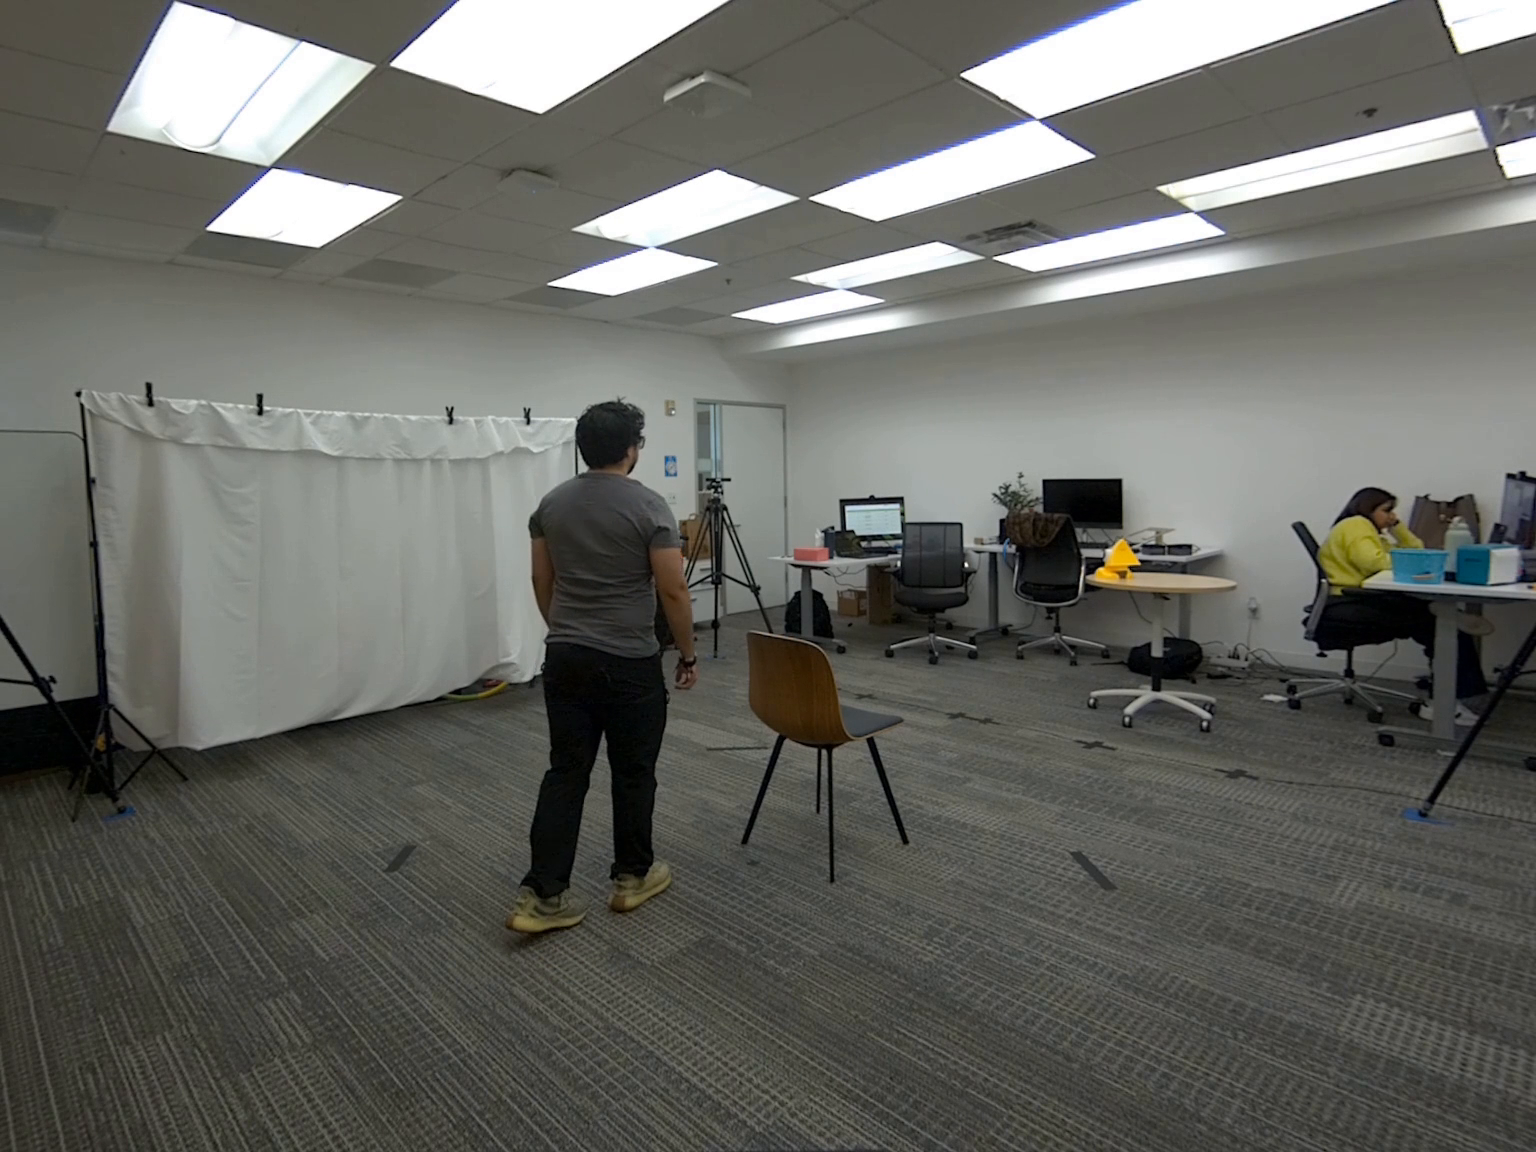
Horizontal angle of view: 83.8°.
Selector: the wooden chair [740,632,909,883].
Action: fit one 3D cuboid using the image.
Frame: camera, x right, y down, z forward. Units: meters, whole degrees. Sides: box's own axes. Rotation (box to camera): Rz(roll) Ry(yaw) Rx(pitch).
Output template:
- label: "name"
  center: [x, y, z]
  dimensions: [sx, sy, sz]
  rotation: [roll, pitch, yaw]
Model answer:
- label: "wooden chair"
  center: [0.217, 0.598, 3.228]
  dimensions: [0.511, 0.871, 0.493]
  rotation: [-11, 10, -44]
